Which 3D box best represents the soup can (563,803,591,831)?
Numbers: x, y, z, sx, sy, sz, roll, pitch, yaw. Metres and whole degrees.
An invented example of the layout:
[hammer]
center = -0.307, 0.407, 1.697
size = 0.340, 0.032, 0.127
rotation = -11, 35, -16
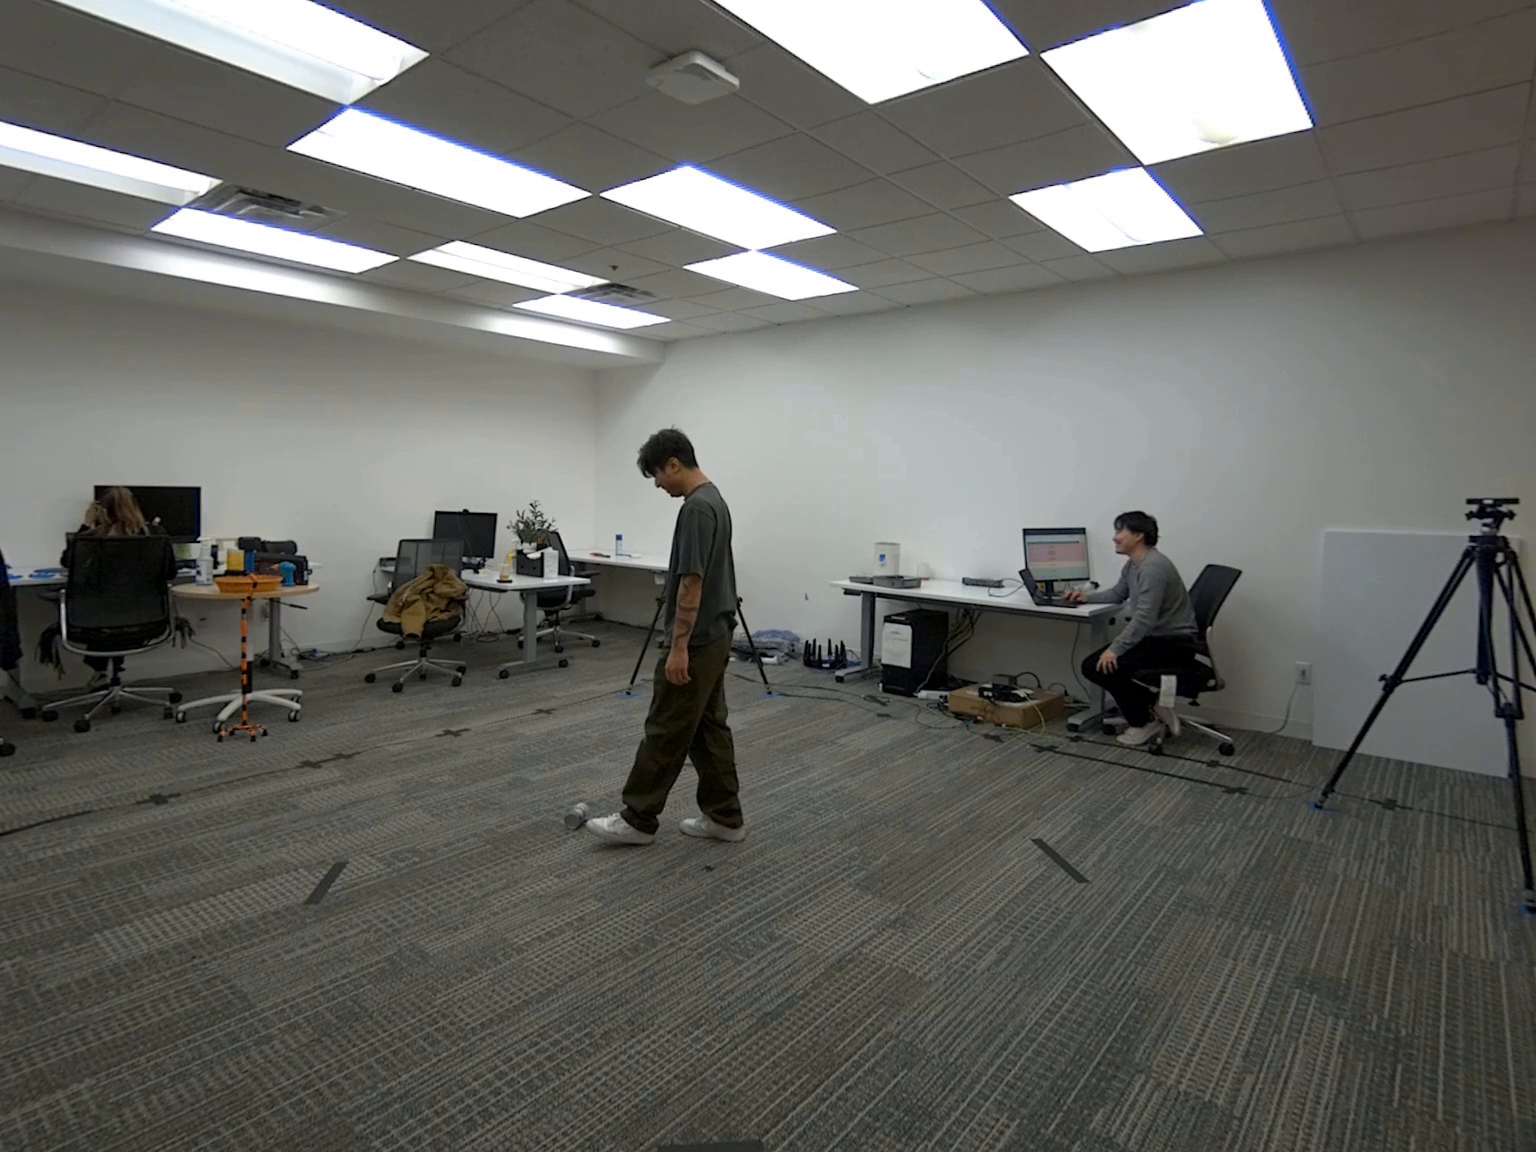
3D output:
[soup can]
center = -0.790, 0.974, 3.511
size = 0.068, 0.067, 0.120
rotation = 2, 6, 10
